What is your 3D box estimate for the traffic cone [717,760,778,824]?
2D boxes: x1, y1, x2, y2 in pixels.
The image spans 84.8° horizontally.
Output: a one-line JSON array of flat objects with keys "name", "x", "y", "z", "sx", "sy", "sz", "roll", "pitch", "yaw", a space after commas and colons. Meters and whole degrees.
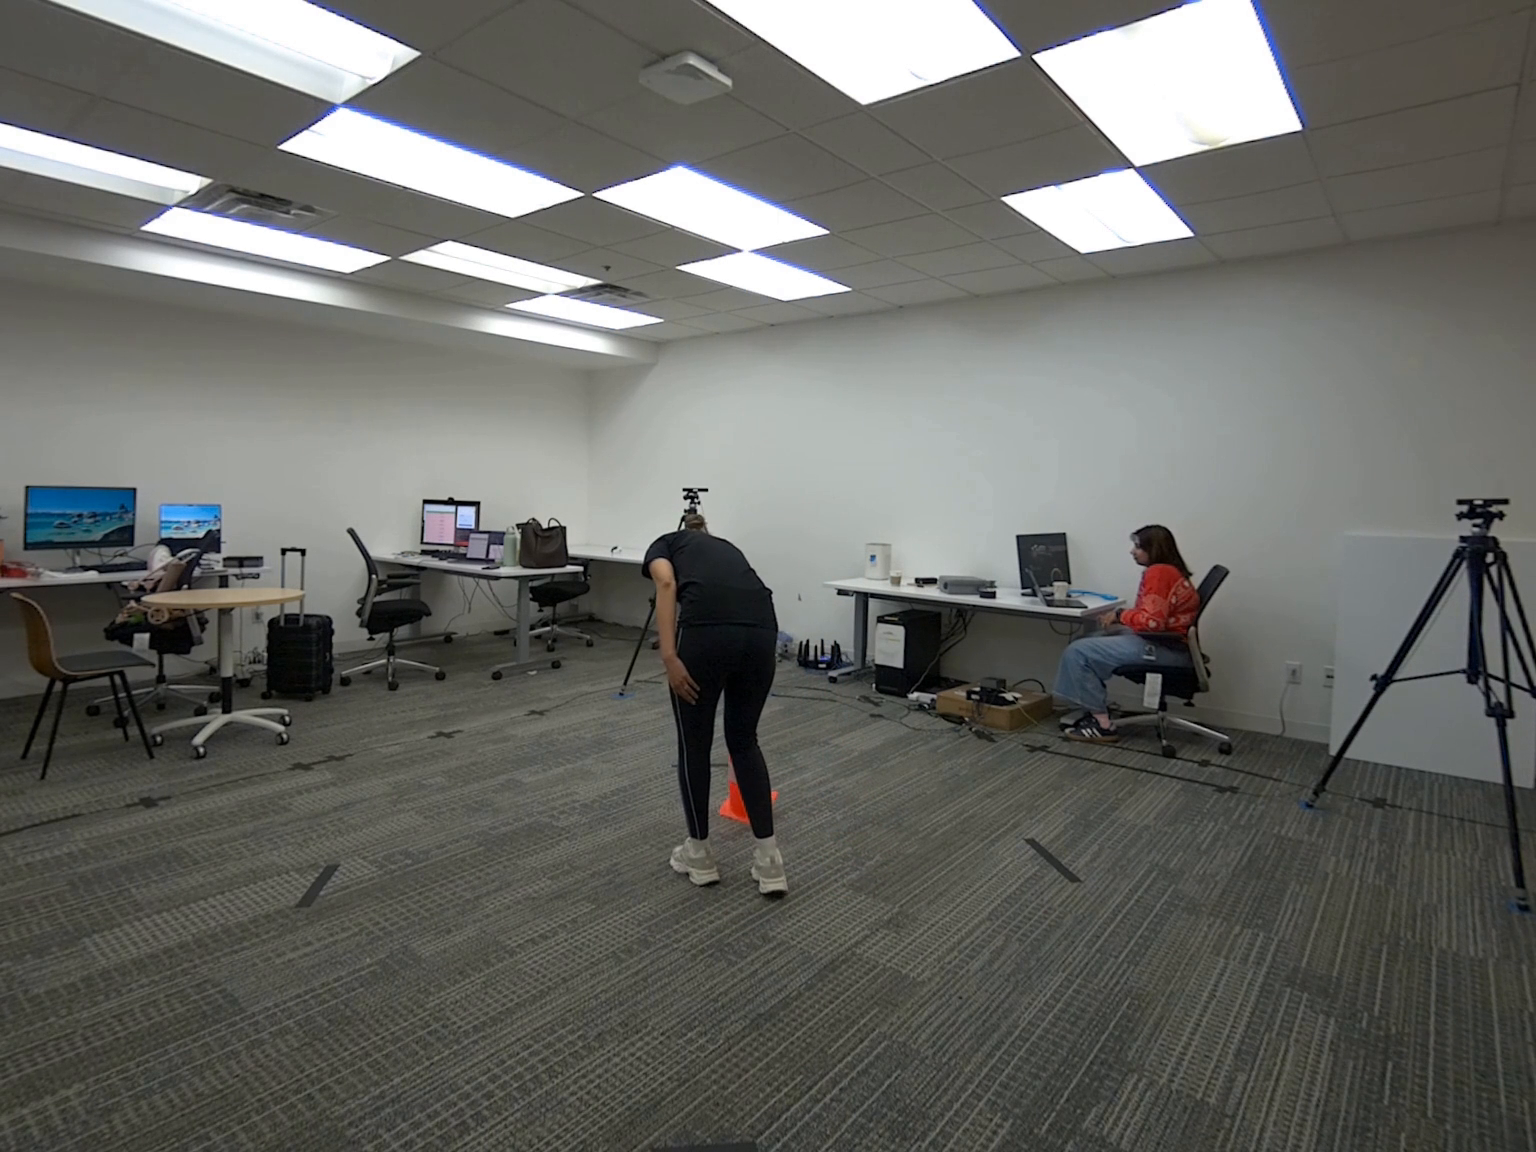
[{"name": "traffic cone", "x": -0.132, "y": 0.821, "z": 3.576, "sx": 0.209, "sy": 0.373, "sz": 0.205, "roll": 3, "pitch": 30, "yaw": 29}]
